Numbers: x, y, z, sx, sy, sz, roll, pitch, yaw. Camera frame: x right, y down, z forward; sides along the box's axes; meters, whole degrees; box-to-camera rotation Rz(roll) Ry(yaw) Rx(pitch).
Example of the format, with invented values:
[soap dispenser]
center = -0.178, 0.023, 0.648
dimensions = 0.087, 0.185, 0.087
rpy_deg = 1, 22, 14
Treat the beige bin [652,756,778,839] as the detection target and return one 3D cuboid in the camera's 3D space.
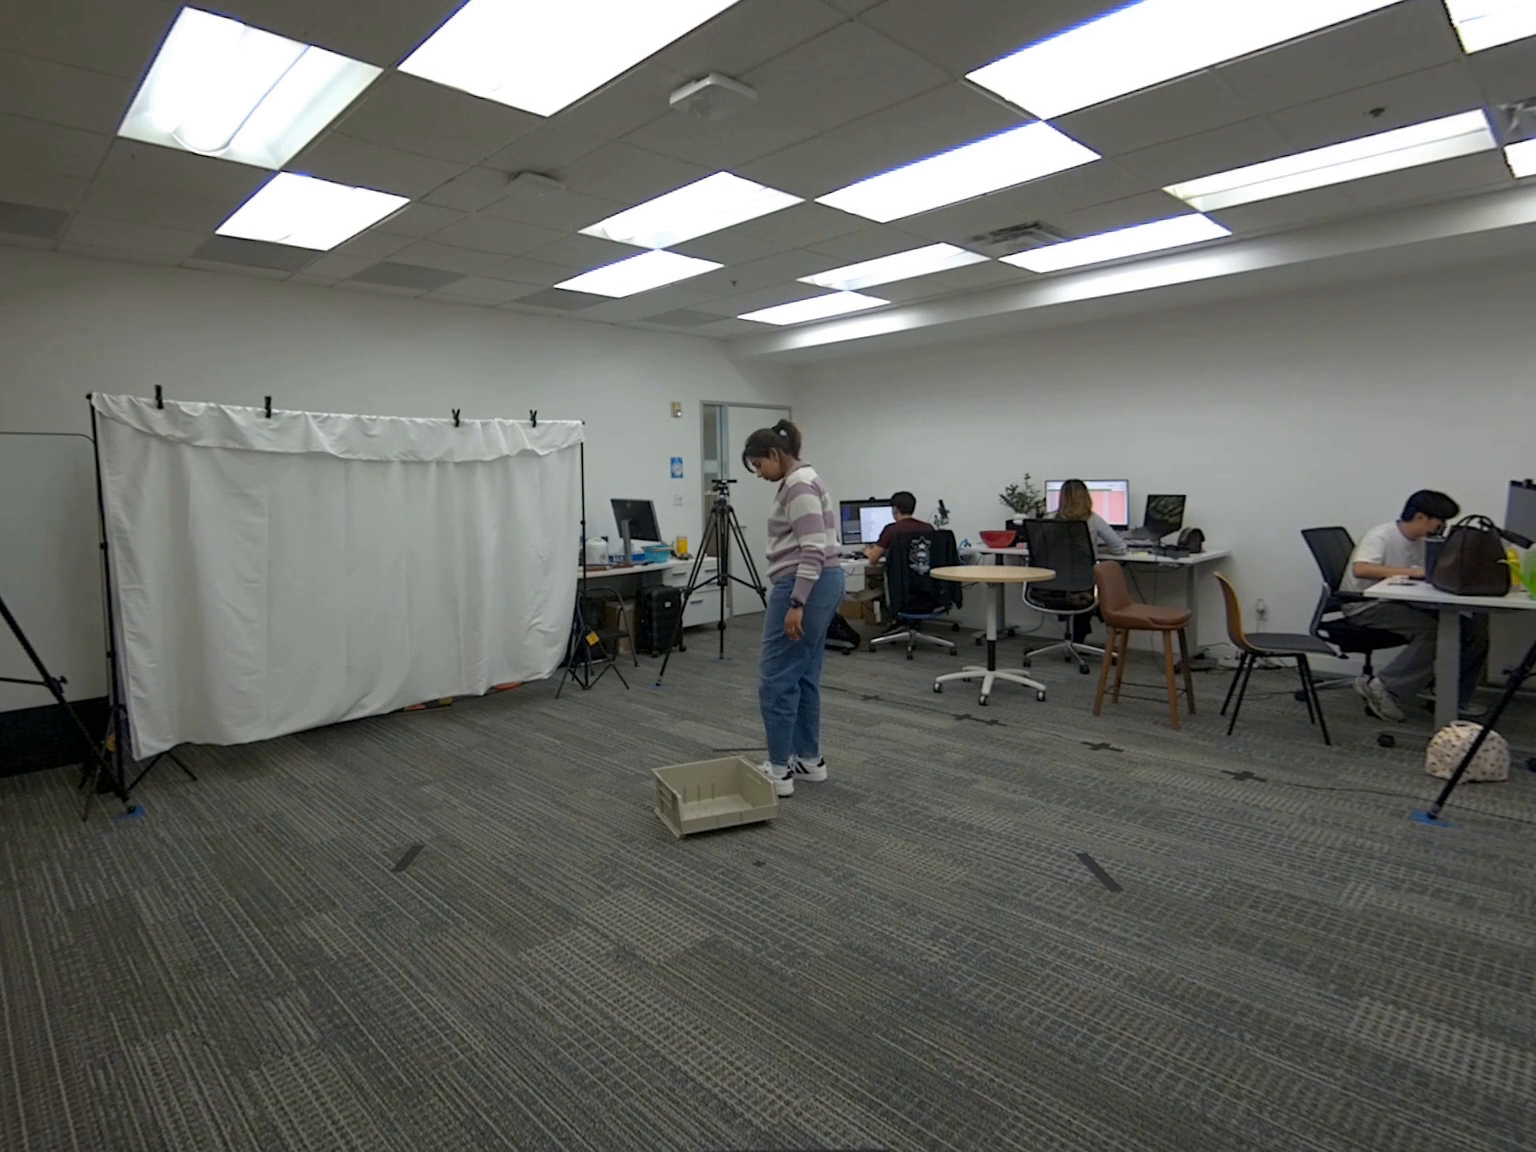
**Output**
[beige bin]
center = -0.226, 0.916, 3.533
dimensions = 0.414, 0.188, 0.386
rpy_deg = -4, 6, -24
